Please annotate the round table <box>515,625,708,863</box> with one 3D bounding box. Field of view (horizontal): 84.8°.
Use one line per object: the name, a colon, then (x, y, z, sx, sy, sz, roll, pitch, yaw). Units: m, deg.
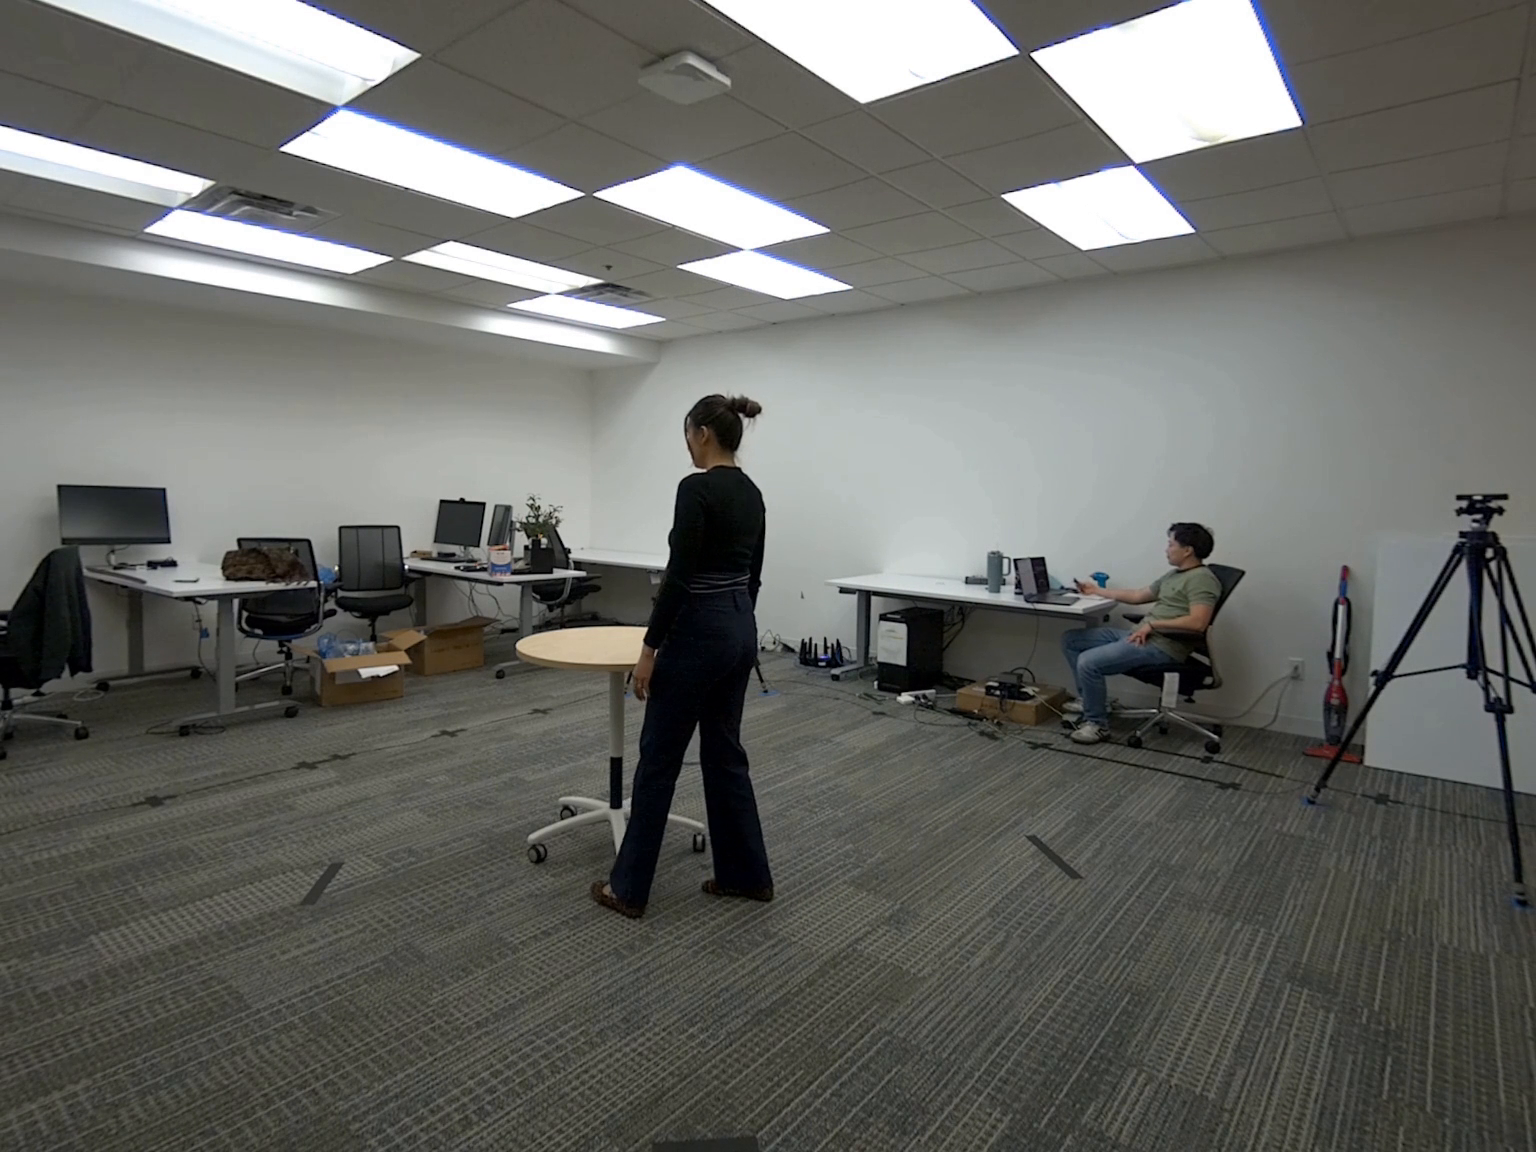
round table: (-0.607, 0.652, 3.303, 0.763, 0.791, 0.768, 1, 4, -2)
